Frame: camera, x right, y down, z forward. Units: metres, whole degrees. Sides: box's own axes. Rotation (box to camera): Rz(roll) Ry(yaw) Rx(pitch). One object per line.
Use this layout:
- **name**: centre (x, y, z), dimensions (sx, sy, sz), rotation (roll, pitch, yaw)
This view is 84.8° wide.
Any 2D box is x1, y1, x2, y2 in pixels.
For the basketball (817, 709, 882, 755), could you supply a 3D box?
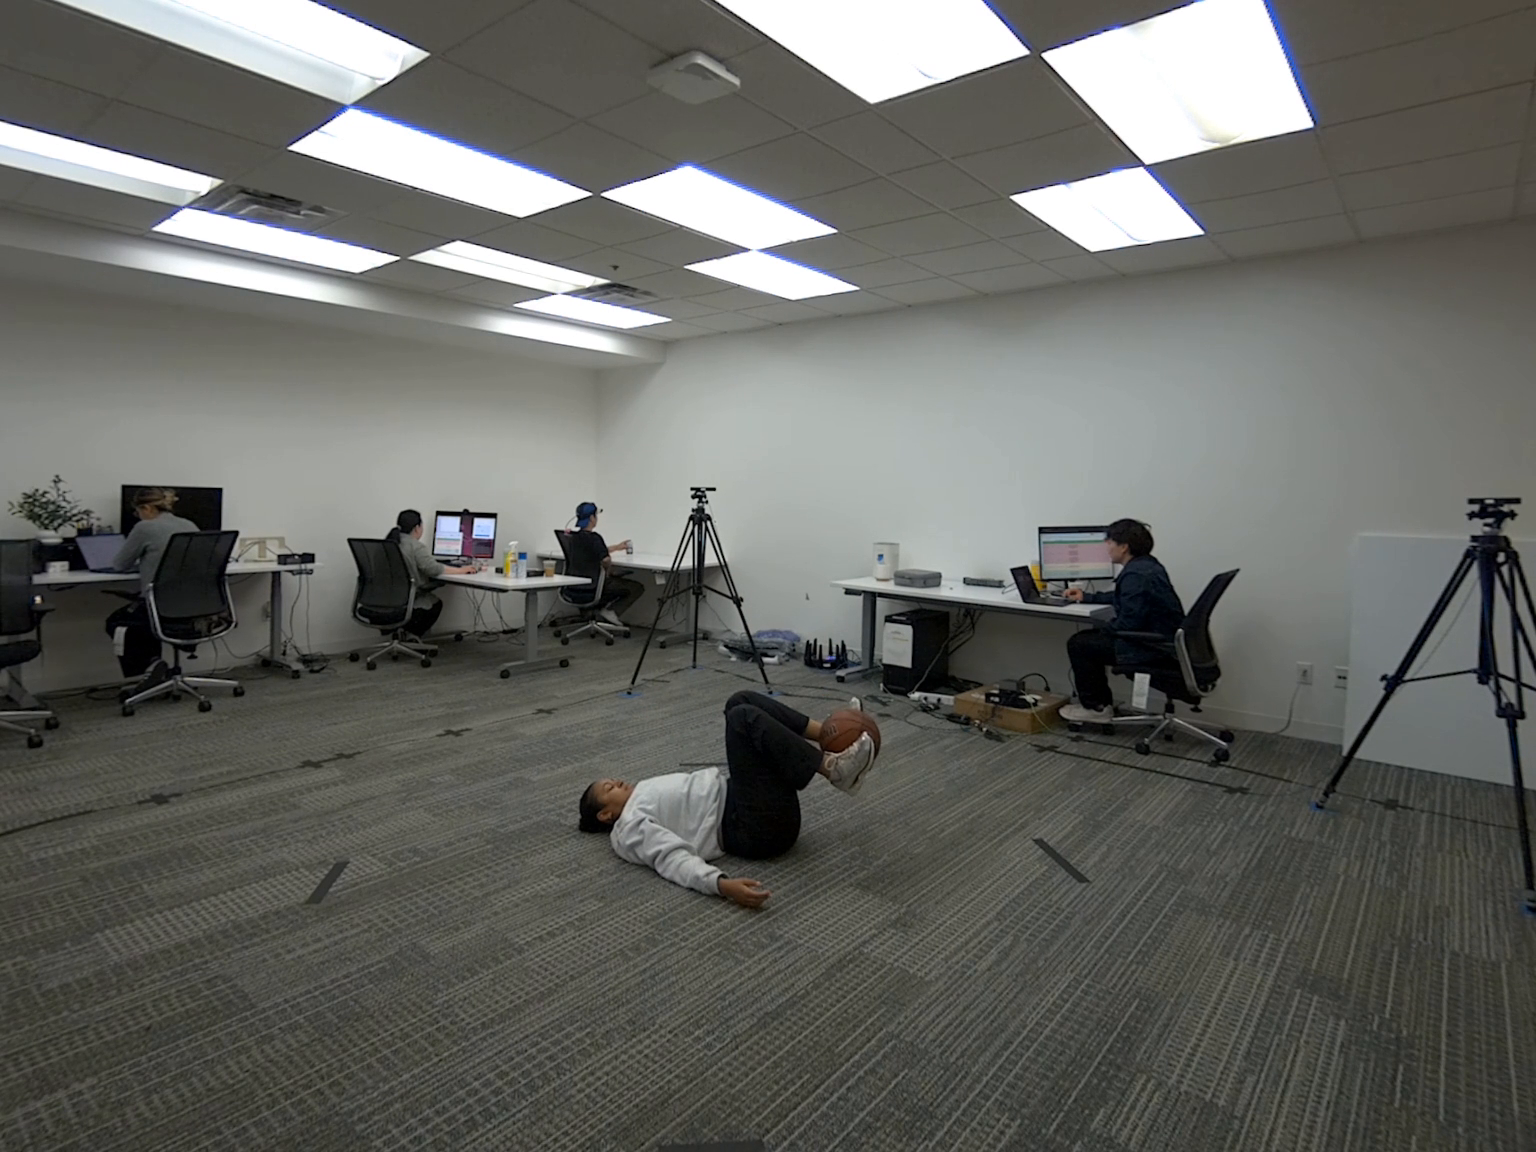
- **basketball**: centre (0.314, 0.633, 3.317), dimensions (0.236, 0.234, 0.238), rotation (-2, 8, -2)
